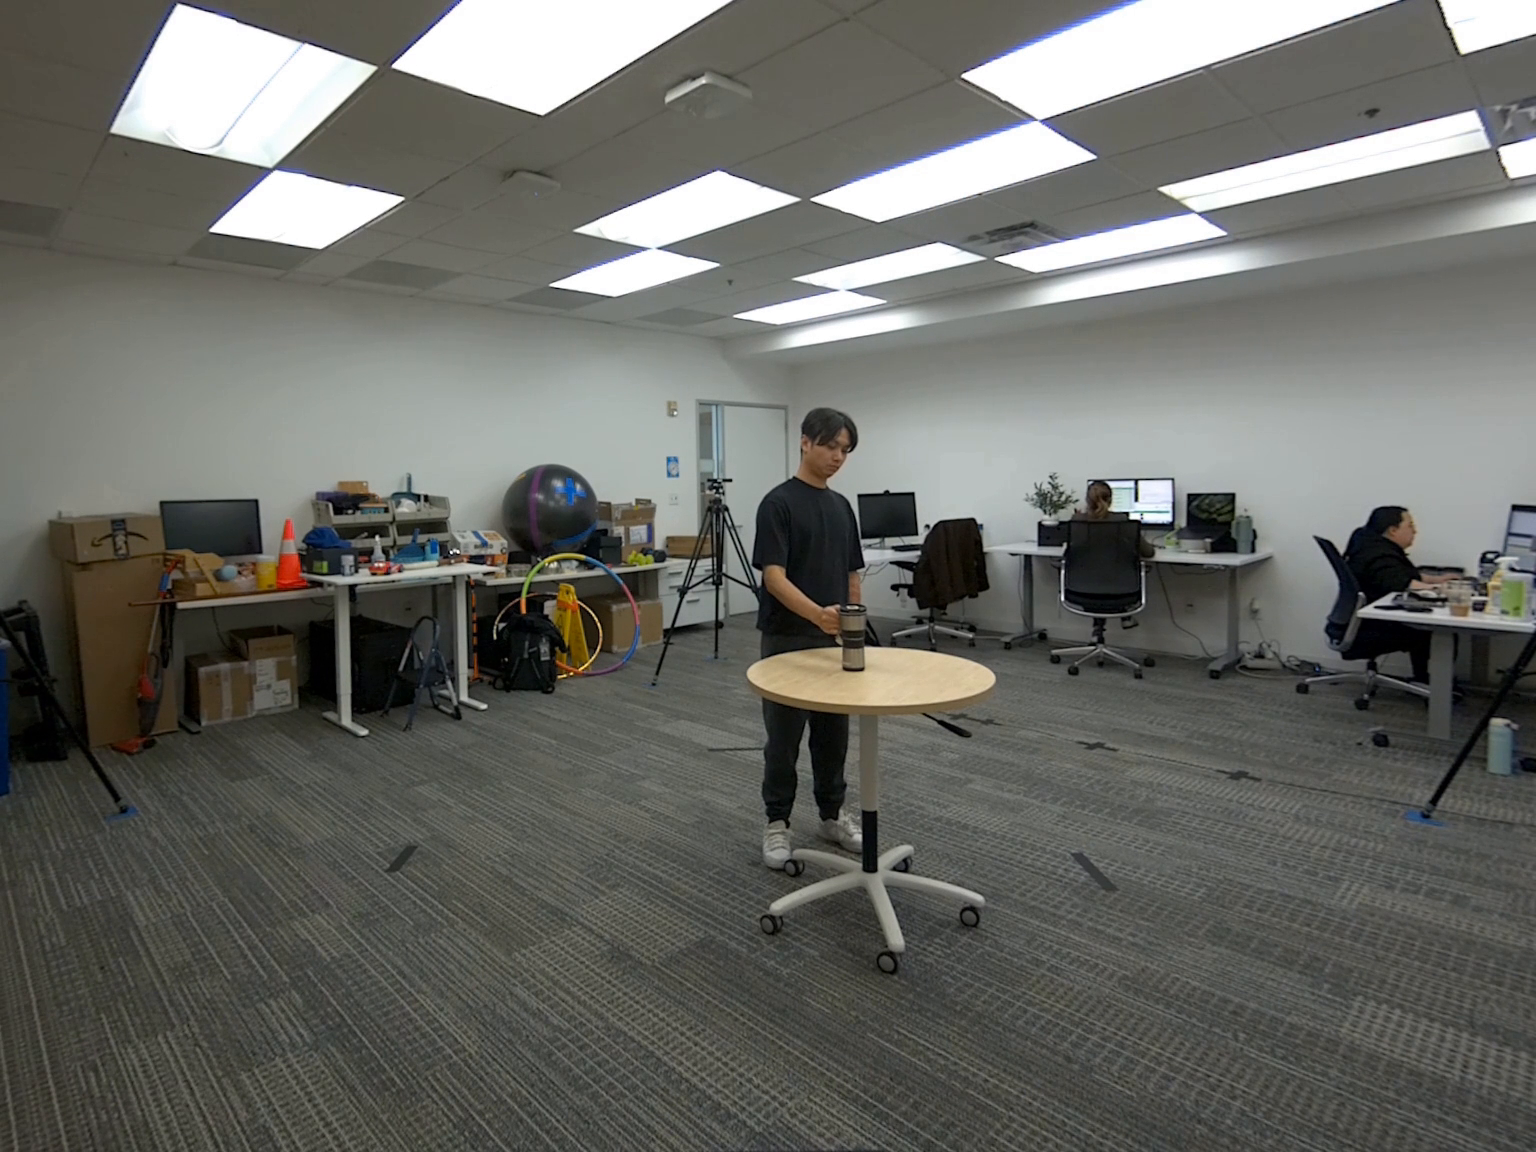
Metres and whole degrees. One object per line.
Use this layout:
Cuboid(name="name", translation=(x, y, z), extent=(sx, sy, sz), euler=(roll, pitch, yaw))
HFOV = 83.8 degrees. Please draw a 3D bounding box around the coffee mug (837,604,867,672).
Cuboid(name="coffee mug", translation=(0.260, 0.199, 2.747), extent=(0.086, 0.201, 0.125), euler=(-9, 9, -28))
